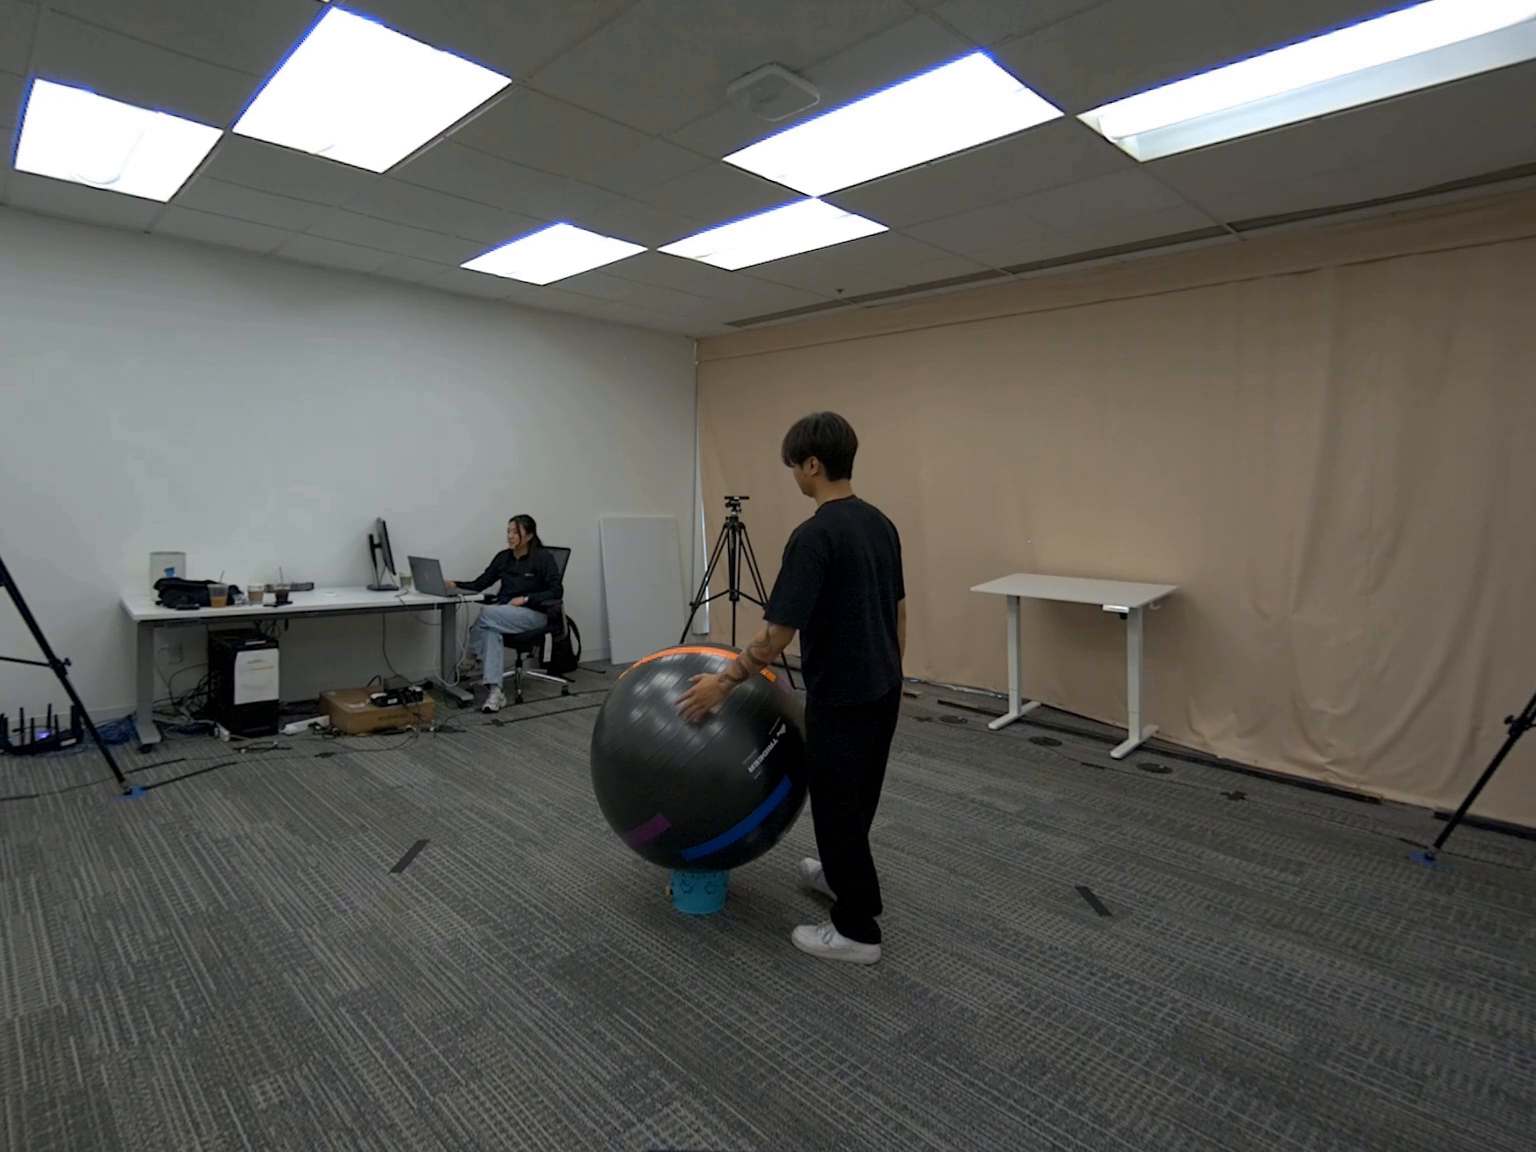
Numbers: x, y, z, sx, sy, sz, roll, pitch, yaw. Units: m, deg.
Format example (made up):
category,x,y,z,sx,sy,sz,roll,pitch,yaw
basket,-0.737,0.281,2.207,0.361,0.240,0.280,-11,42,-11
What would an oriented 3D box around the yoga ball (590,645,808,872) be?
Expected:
category,x,y,z,sx,sy,sz,roll,pitch,yaw
yoga ball,-0.235,0.615,2.869,0.757,0.756,0.761,1,4,-1
